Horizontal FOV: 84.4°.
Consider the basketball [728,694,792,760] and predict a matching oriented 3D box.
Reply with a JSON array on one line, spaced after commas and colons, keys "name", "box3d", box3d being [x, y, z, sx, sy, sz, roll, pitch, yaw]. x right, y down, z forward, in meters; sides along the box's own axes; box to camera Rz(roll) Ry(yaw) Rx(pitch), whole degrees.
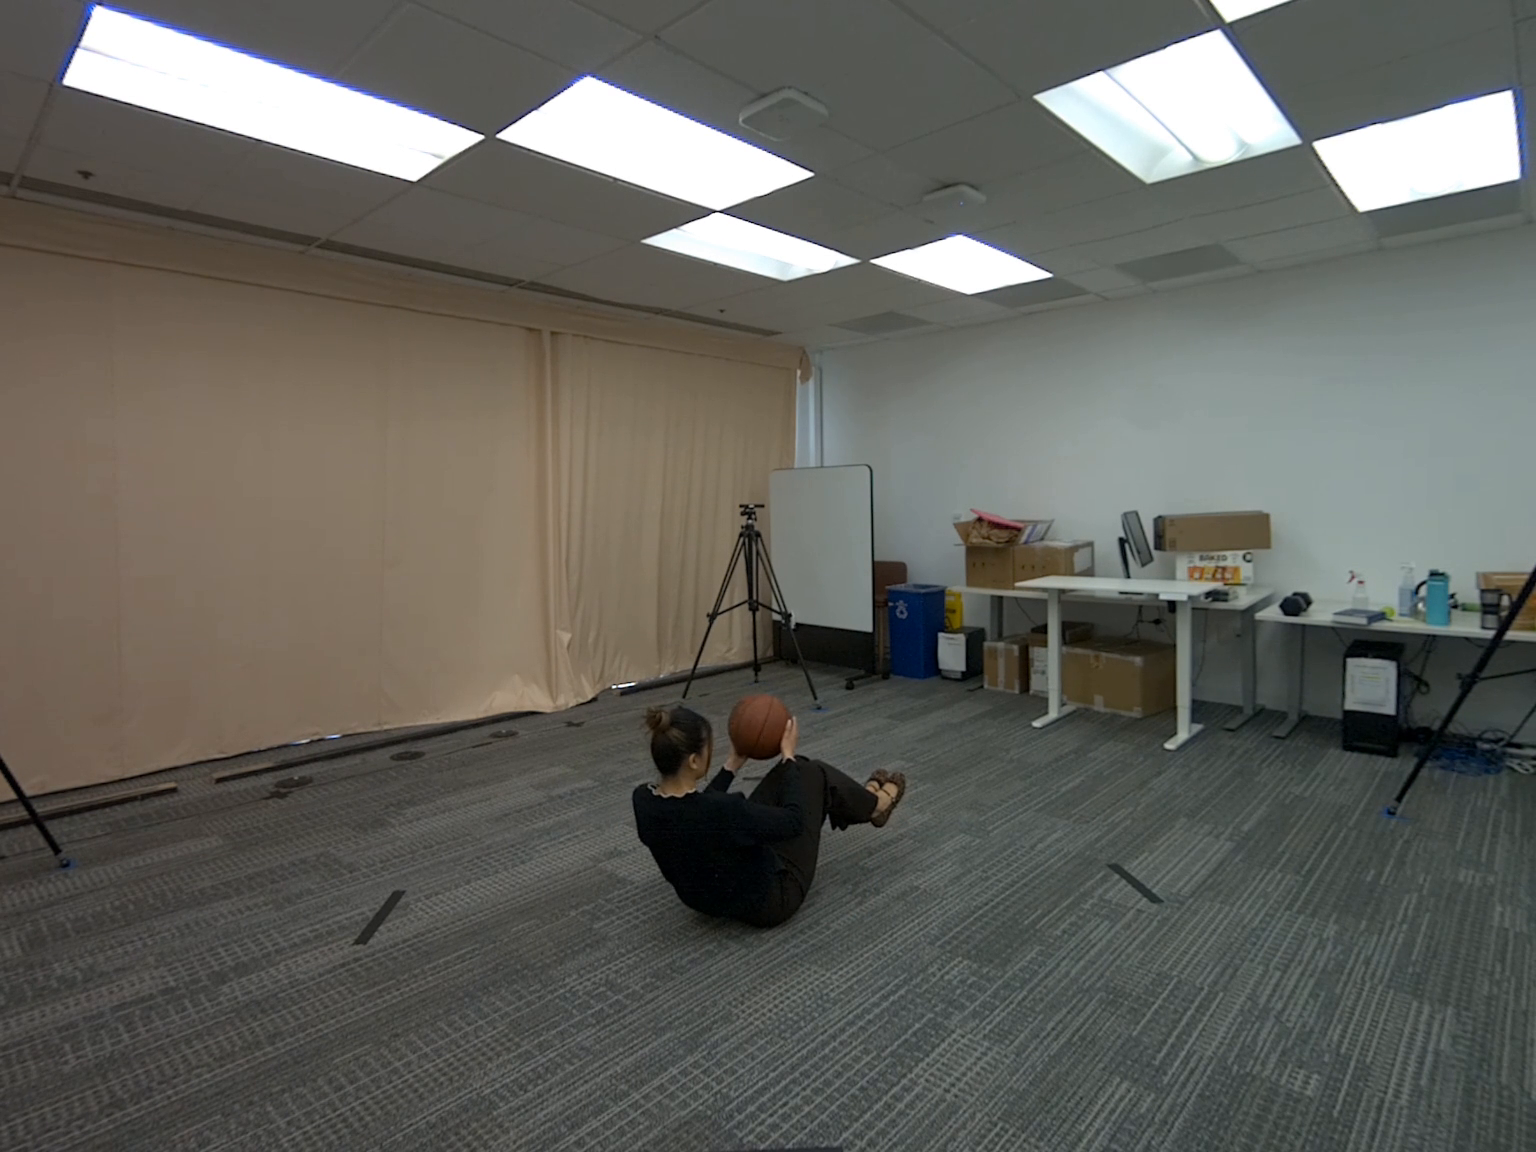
[{"name": "basketball", "box3d": [-0.028, 0.560, 3.015, 0.236, 0.235, 0.237, -1, 4, -2]}]
